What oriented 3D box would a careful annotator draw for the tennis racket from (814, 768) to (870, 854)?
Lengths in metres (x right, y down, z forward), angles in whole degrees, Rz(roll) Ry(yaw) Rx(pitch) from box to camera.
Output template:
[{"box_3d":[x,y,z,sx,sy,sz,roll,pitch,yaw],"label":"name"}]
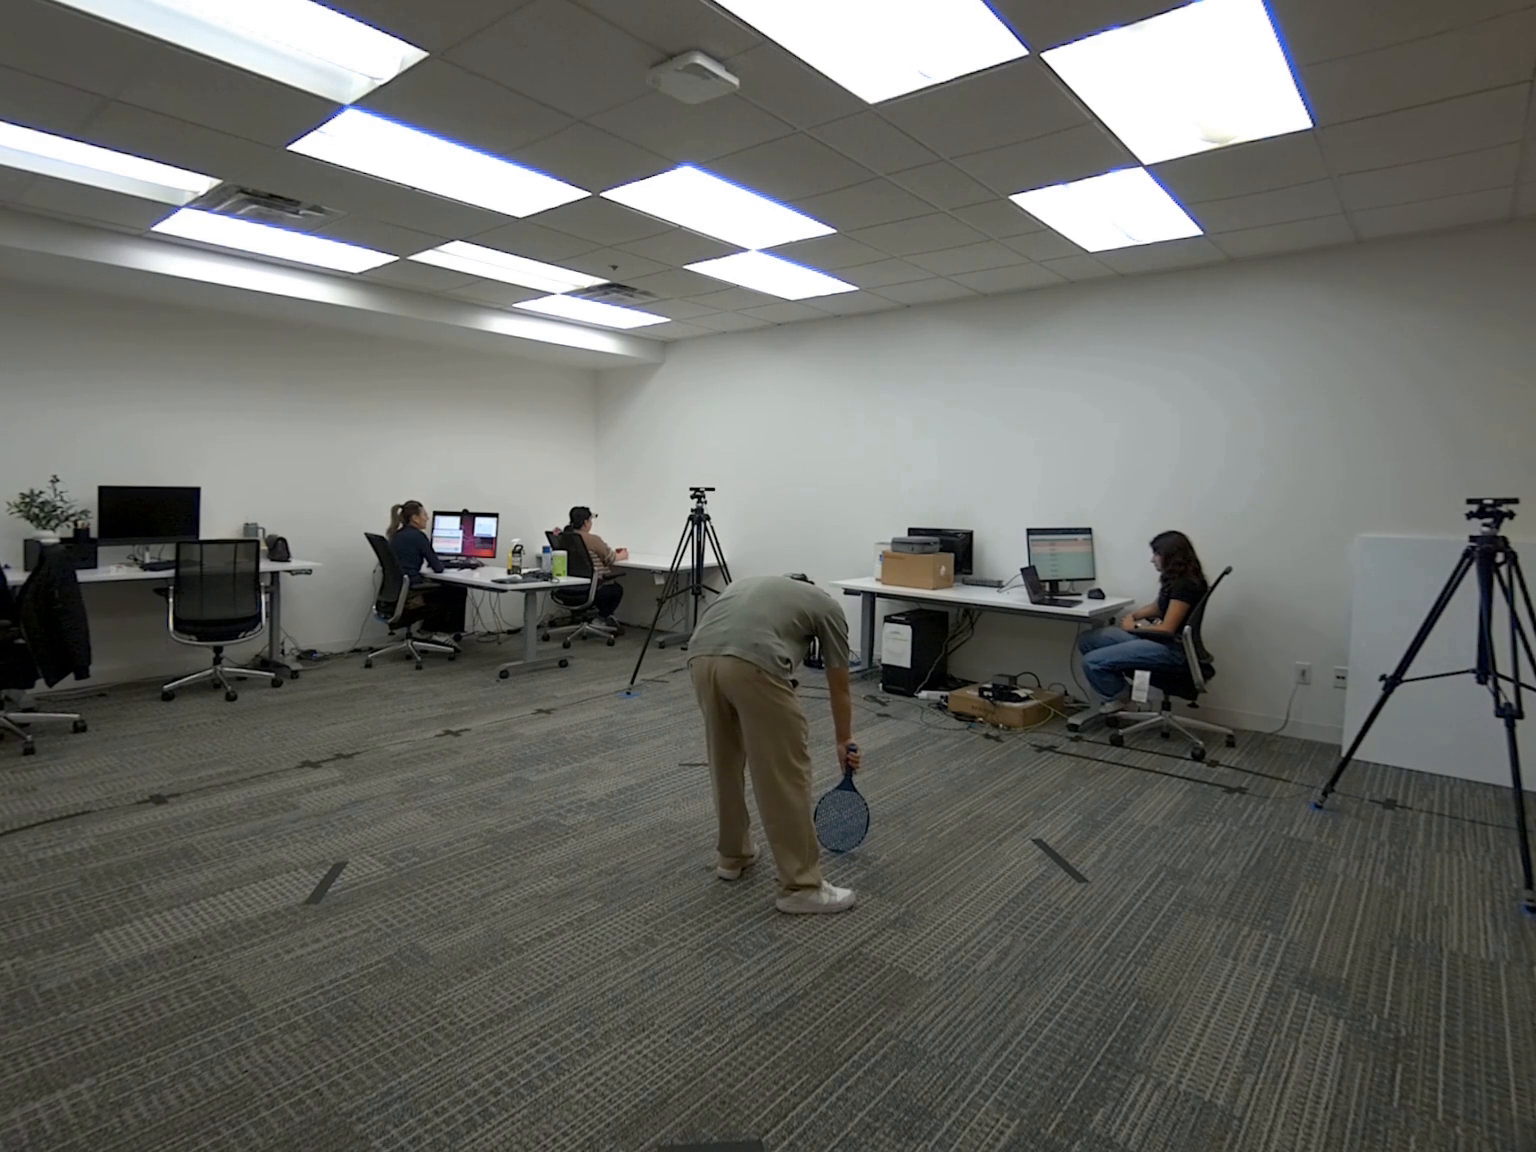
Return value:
[{"box_3d":[0.282,0.852,3.243,0.214,0.429,0.032,8,10,2],"label":"tennis racket"}]
